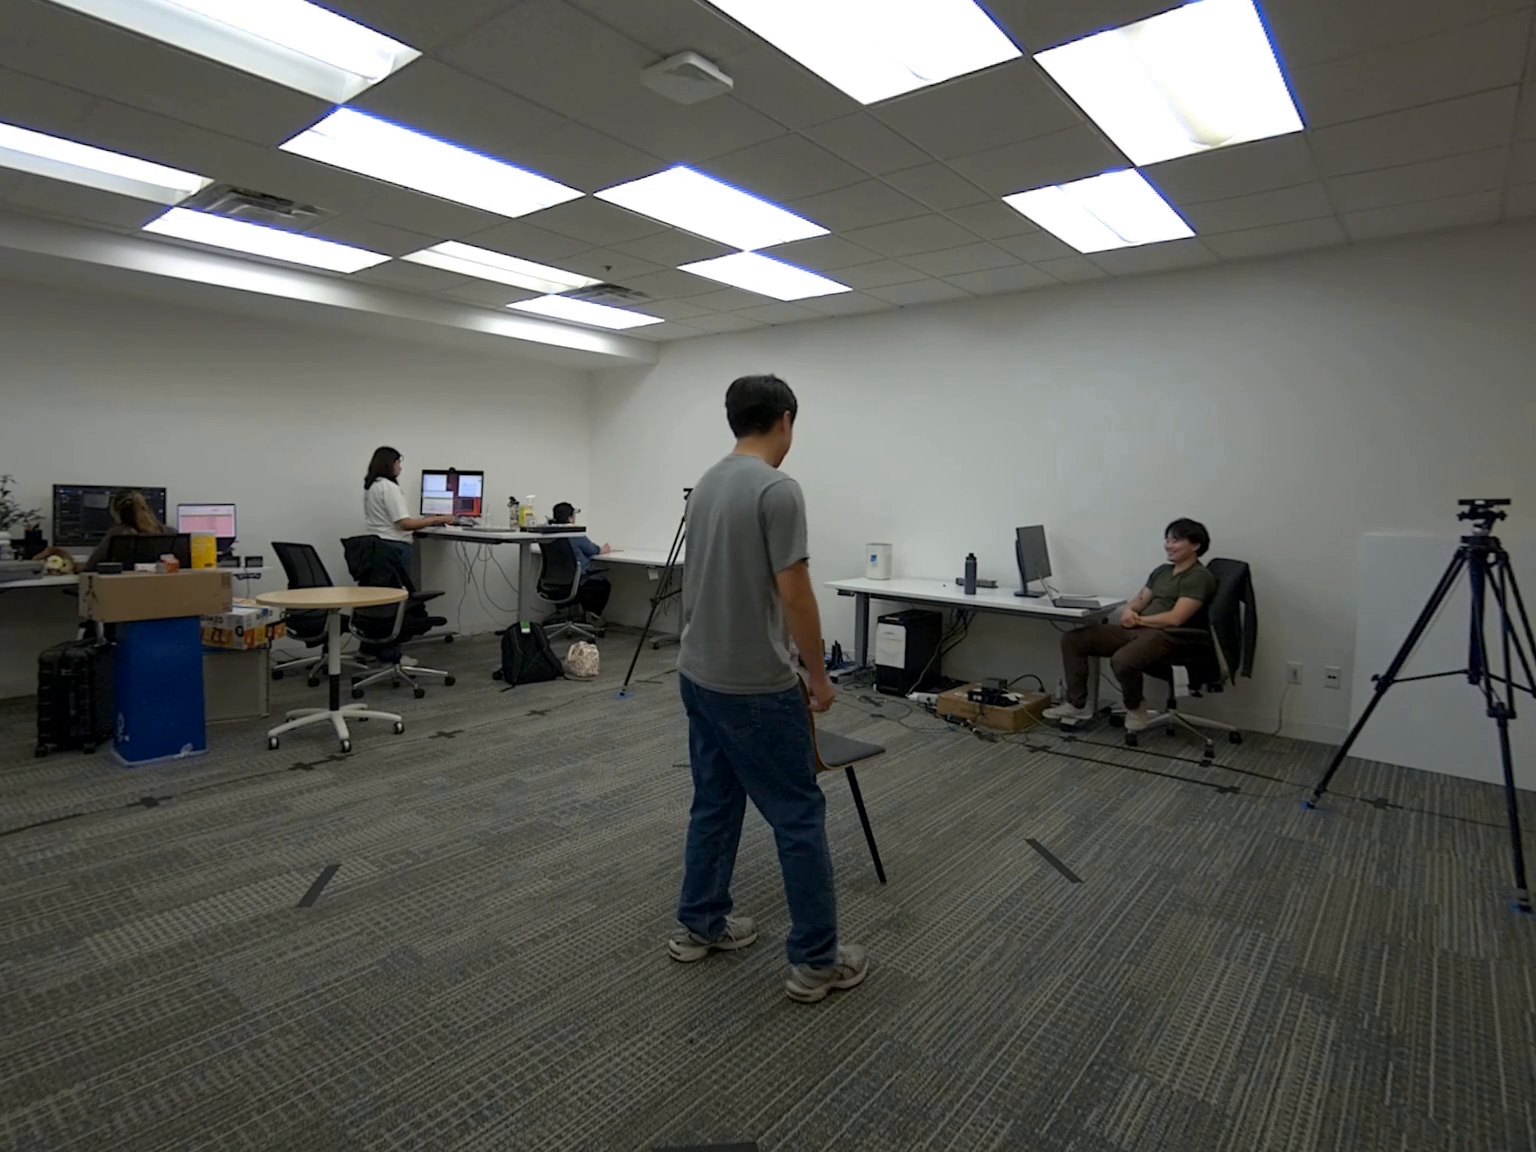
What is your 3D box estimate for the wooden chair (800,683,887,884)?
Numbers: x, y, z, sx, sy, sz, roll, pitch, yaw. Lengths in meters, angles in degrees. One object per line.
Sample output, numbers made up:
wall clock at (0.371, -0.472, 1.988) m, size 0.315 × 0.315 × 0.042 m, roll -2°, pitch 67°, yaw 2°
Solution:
wooden chair at (0.106, 0.656, 3.033) m, size 0.509 × 0.872 × 0.494 m, roll -8°, pitch 8°, yaw -43°
